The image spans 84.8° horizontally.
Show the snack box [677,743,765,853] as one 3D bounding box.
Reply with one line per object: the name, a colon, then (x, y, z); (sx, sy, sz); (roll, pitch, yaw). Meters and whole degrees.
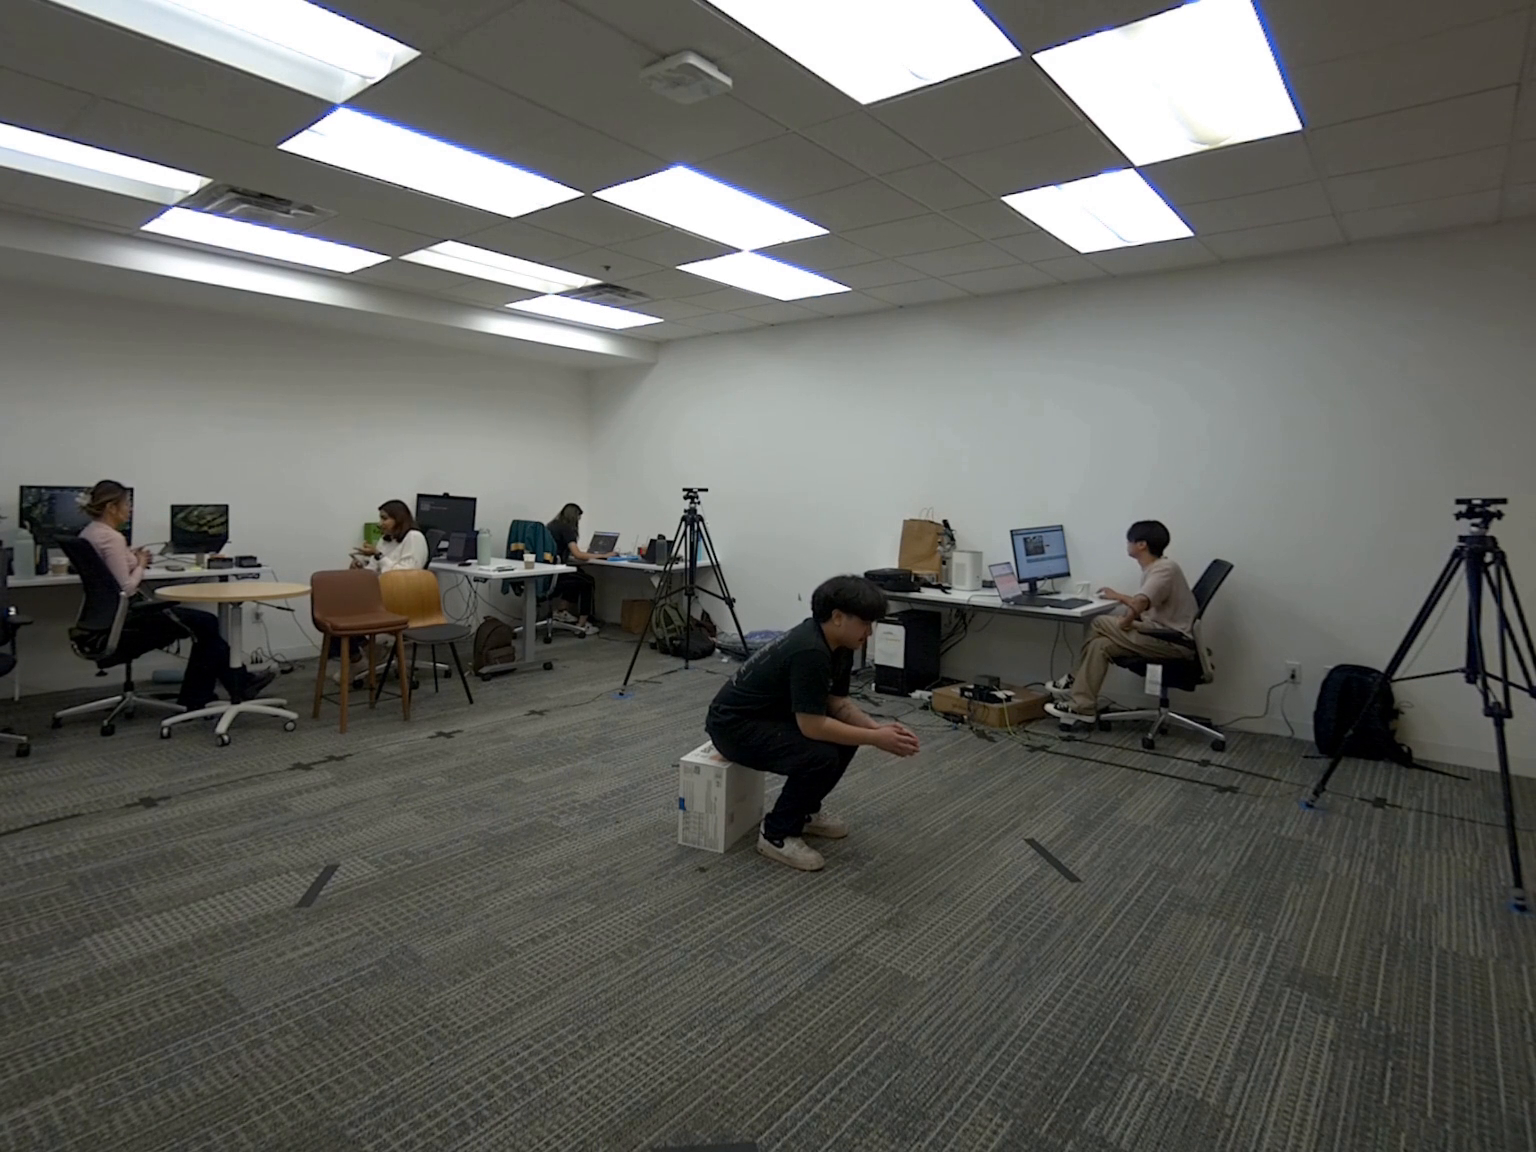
snack box: (-0.192, 0.868, 3.460); (0.211, 0.339, 0.397); (2, 5, 23)
